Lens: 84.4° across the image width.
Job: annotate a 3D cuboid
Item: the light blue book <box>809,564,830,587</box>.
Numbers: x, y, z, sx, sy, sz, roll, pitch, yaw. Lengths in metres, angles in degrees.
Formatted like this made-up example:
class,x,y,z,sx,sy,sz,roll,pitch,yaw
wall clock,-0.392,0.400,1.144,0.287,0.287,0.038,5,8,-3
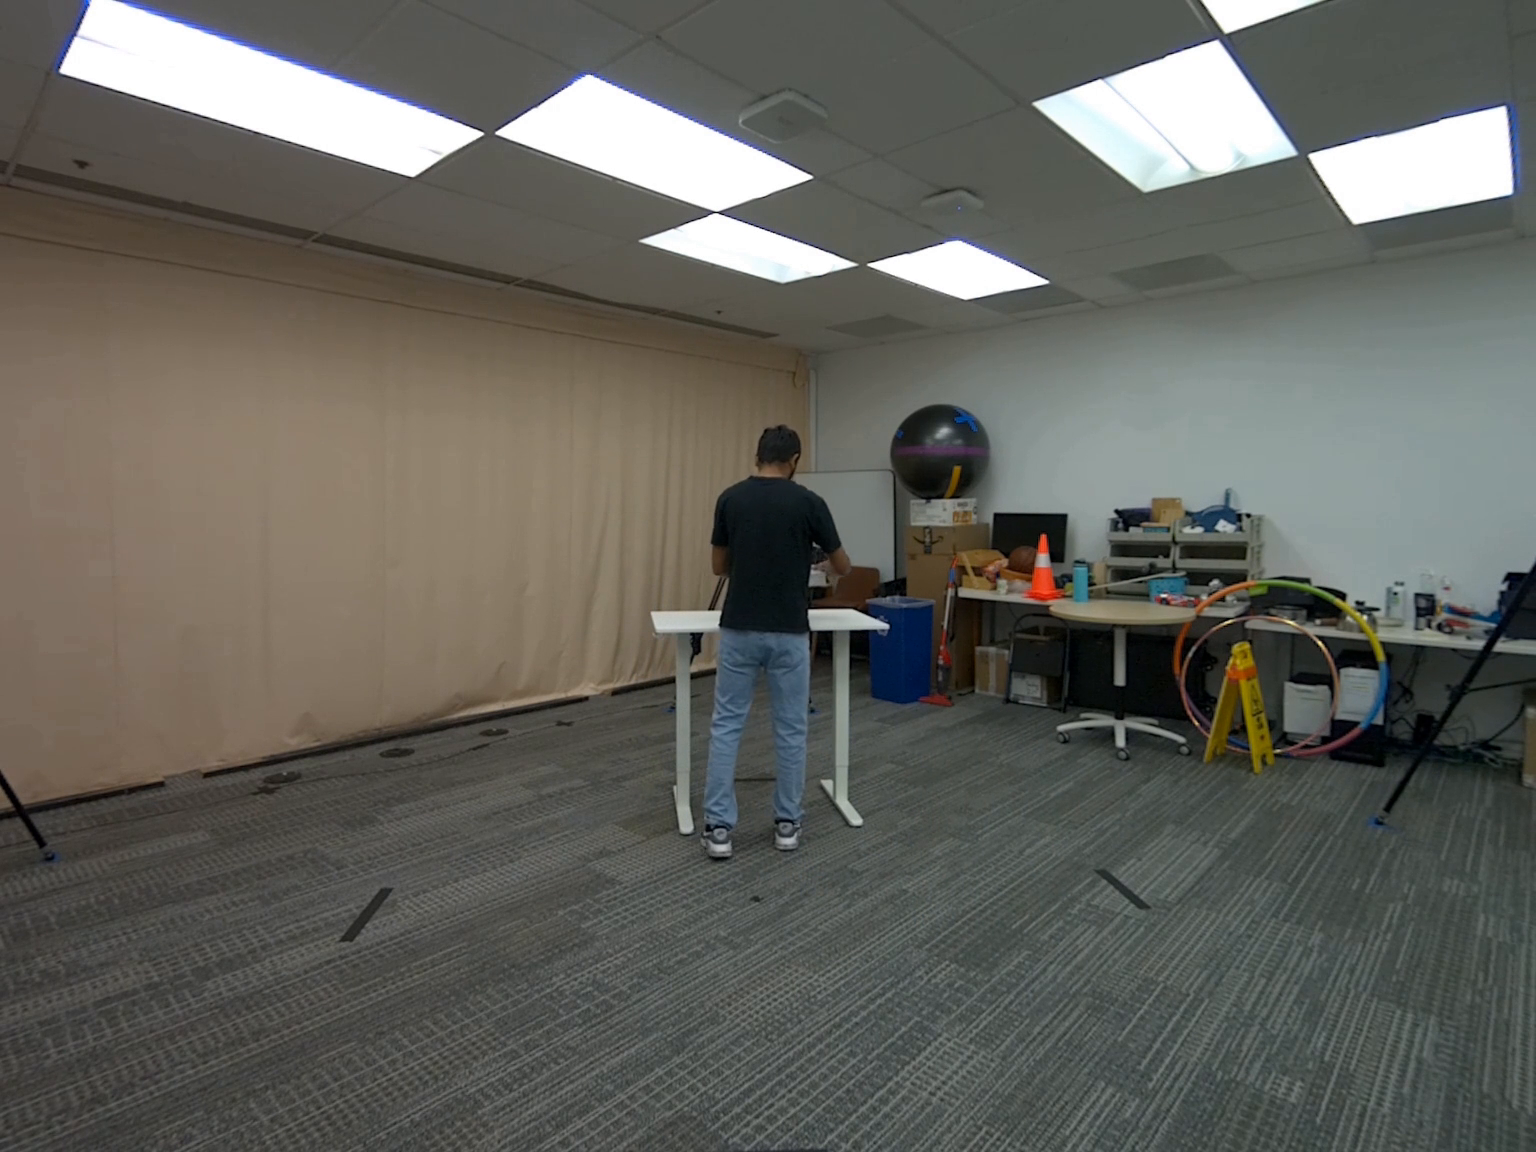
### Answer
class,x,y,z,sx,sy,sz,roll,pitch,yaw
light blue book,0.134,-0.001,3.828,0.262,0.058,0.192,-5,10,3
